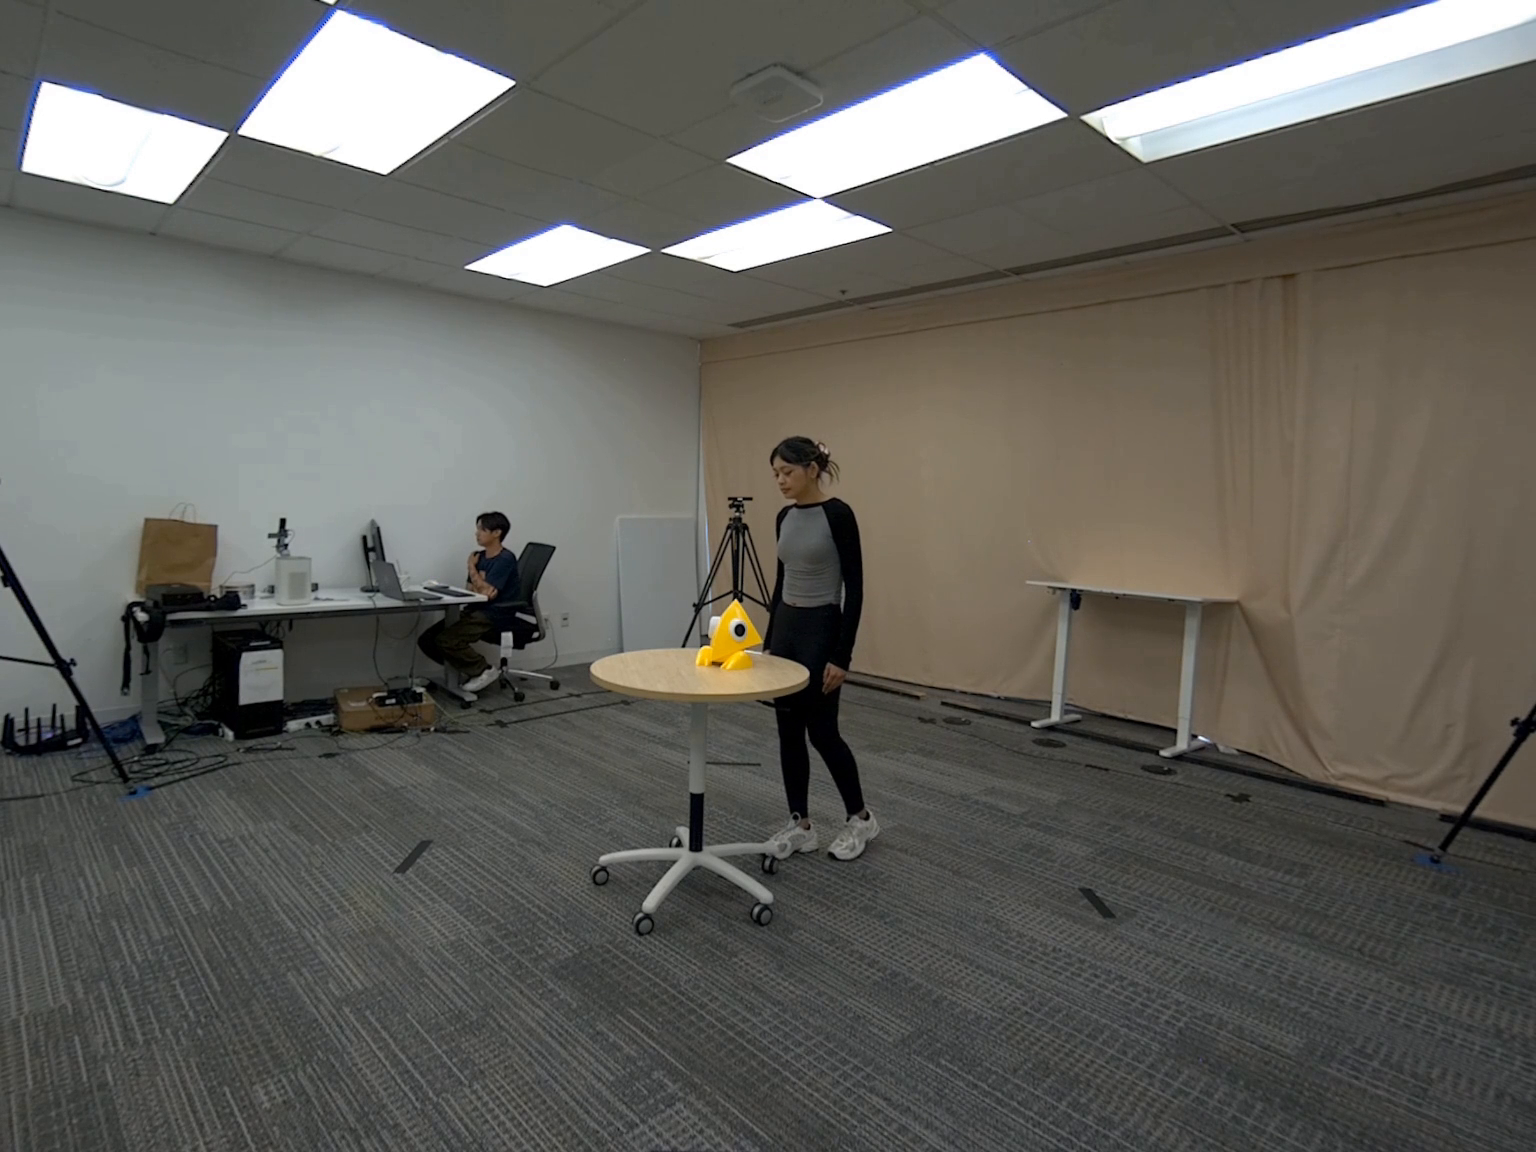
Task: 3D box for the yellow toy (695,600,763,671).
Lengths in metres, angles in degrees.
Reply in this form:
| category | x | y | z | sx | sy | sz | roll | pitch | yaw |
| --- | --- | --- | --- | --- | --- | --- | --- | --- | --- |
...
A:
| category | x | y | z | sx | sy | sz | roll | pitch | yaw |
| --- | --- | --- | --- | --- | --- | --- | --- | --- | --- |
| yellow toy | -0.155 | 0.206 | 3.036 | 0.209 | 0.230 | 0.189 | 4 | 5 | 30 |
